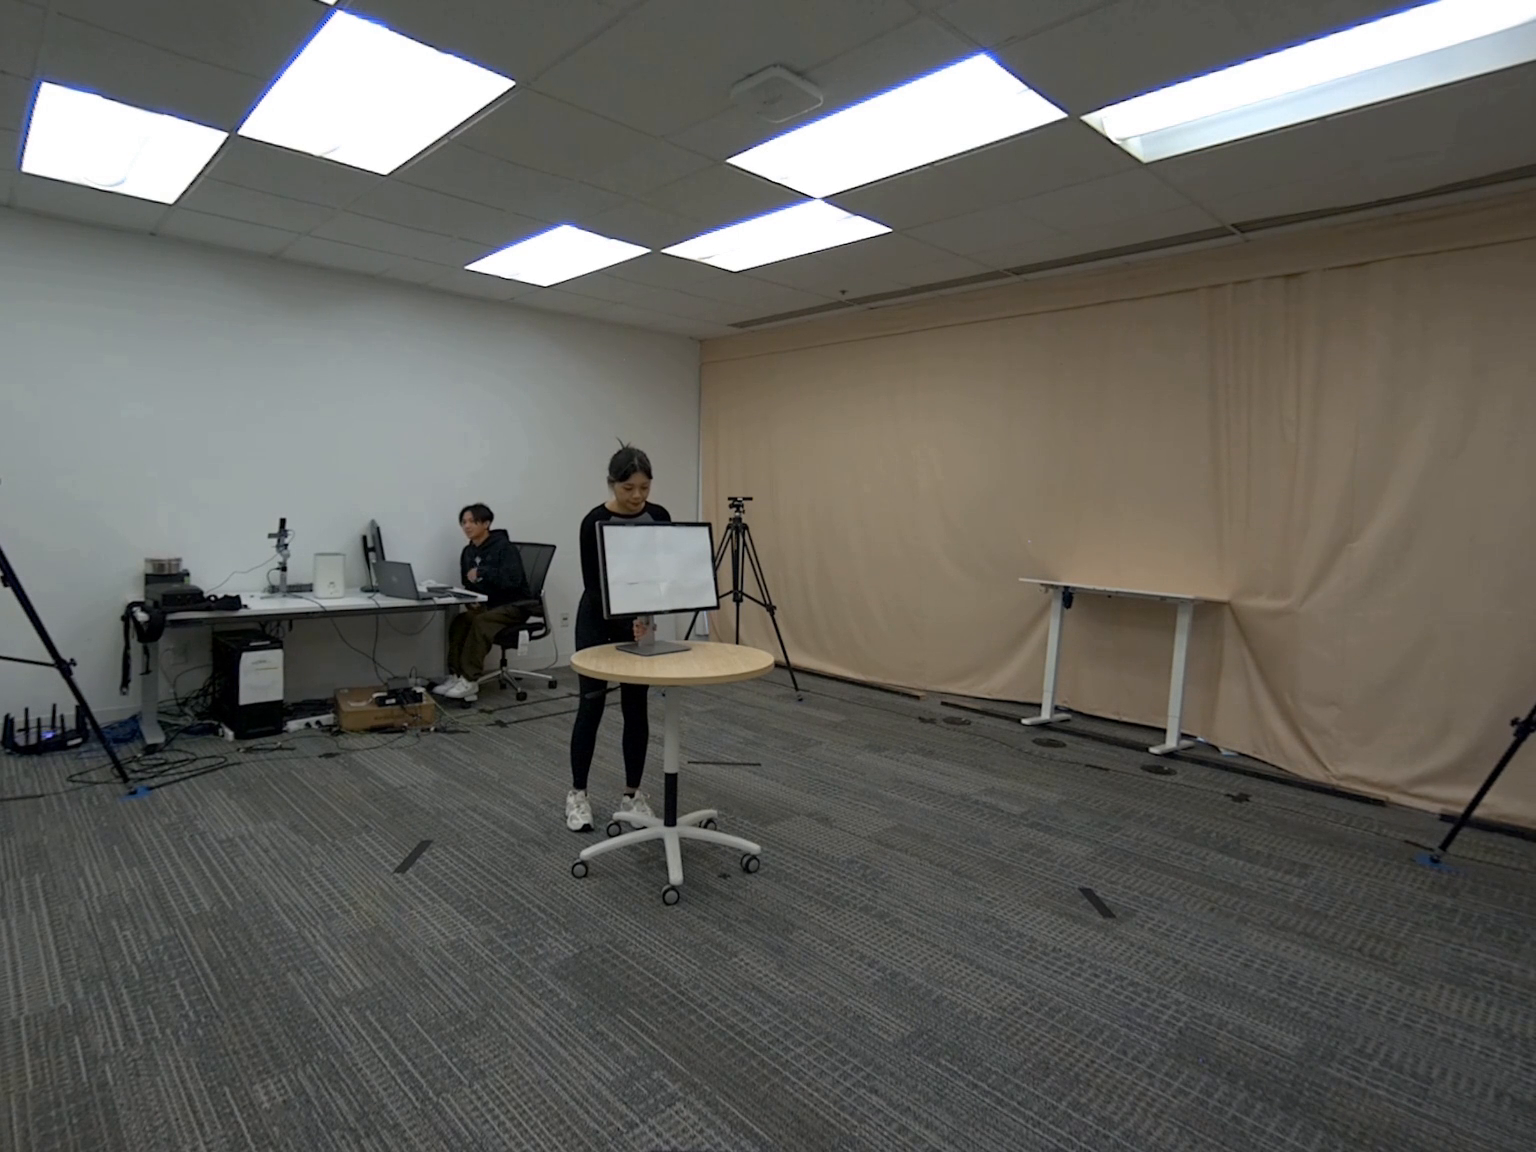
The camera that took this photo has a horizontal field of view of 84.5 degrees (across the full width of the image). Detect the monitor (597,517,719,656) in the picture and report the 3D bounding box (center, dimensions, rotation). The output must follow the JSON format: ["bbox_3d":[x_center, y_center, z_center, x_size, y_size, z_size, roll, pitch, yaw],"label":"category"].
[{"bbox_3d":[-0.458,0.048,3.326,0.192,0.521,0.527,8,7,42],"label":"monitor"}]
